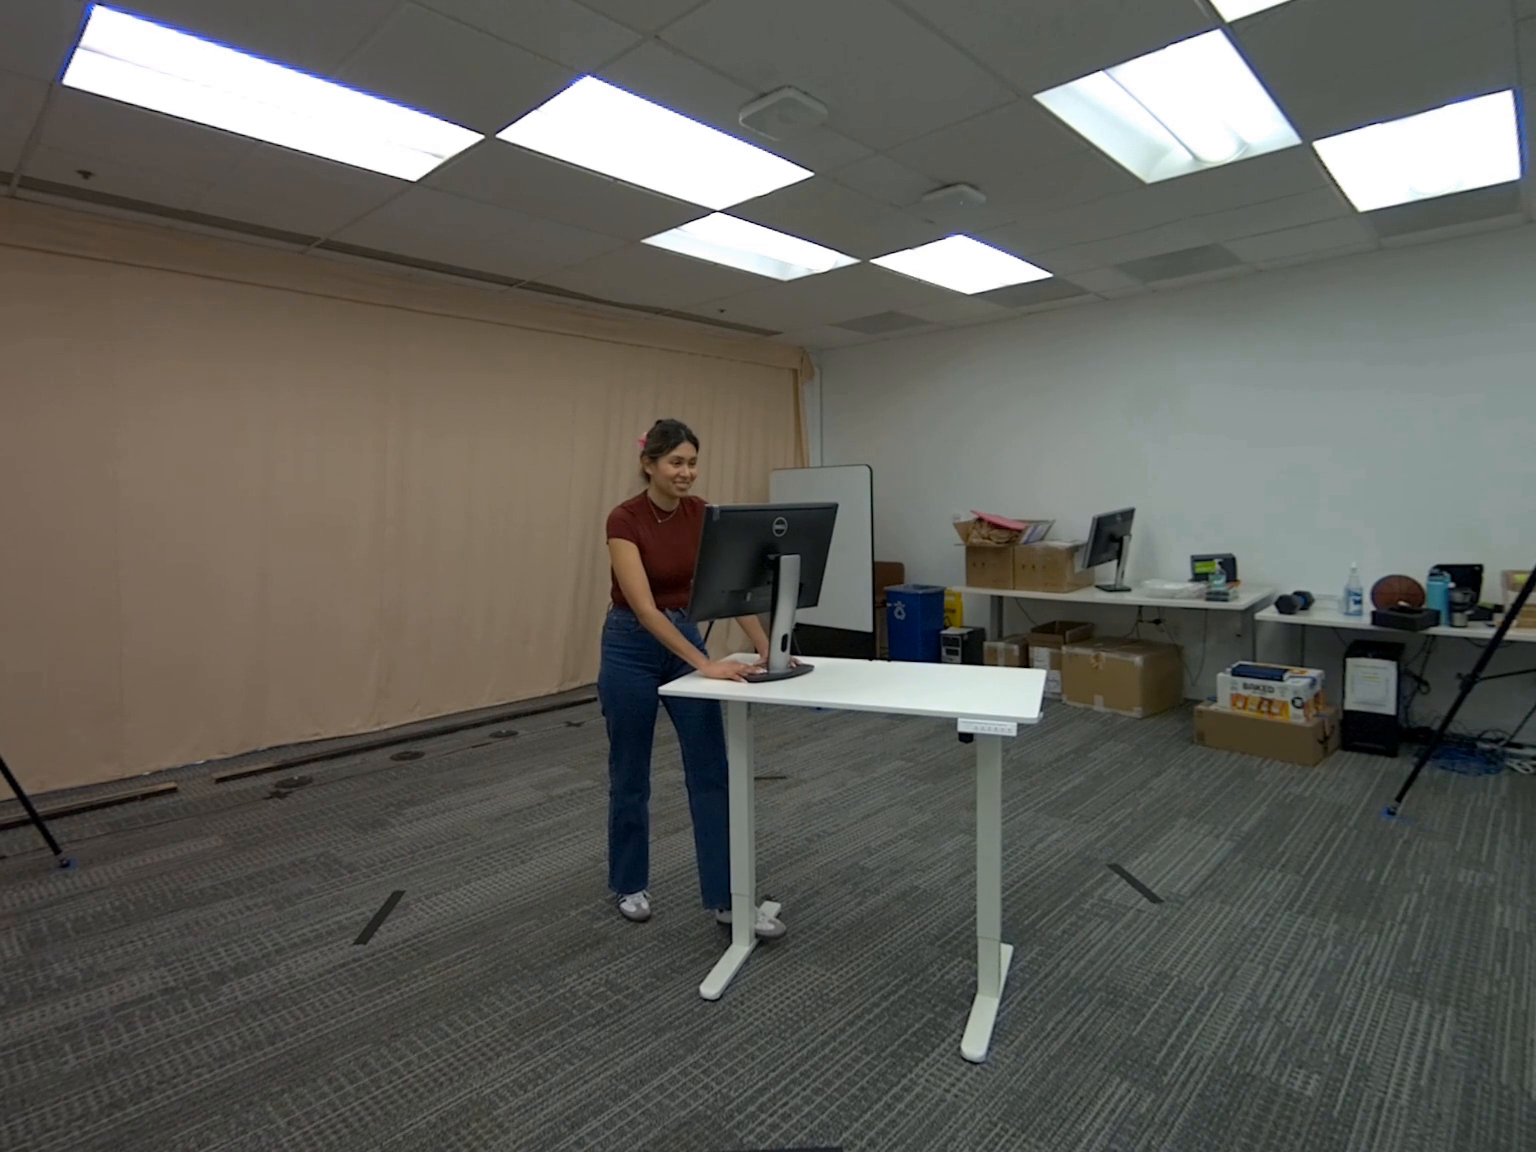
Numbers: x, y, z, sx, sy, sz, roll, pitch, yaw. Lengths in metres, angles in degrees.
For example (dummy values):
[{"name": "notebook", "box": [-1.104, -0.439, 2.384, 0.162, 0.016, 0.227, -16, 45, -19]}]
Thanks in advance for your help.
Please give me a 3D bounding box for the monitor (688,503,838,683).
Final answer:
[{"name": "monitor", "box": [0.016, 0.047, 2.523, 0.523, 0.520, 0.193, -5, 8, -42]}]
